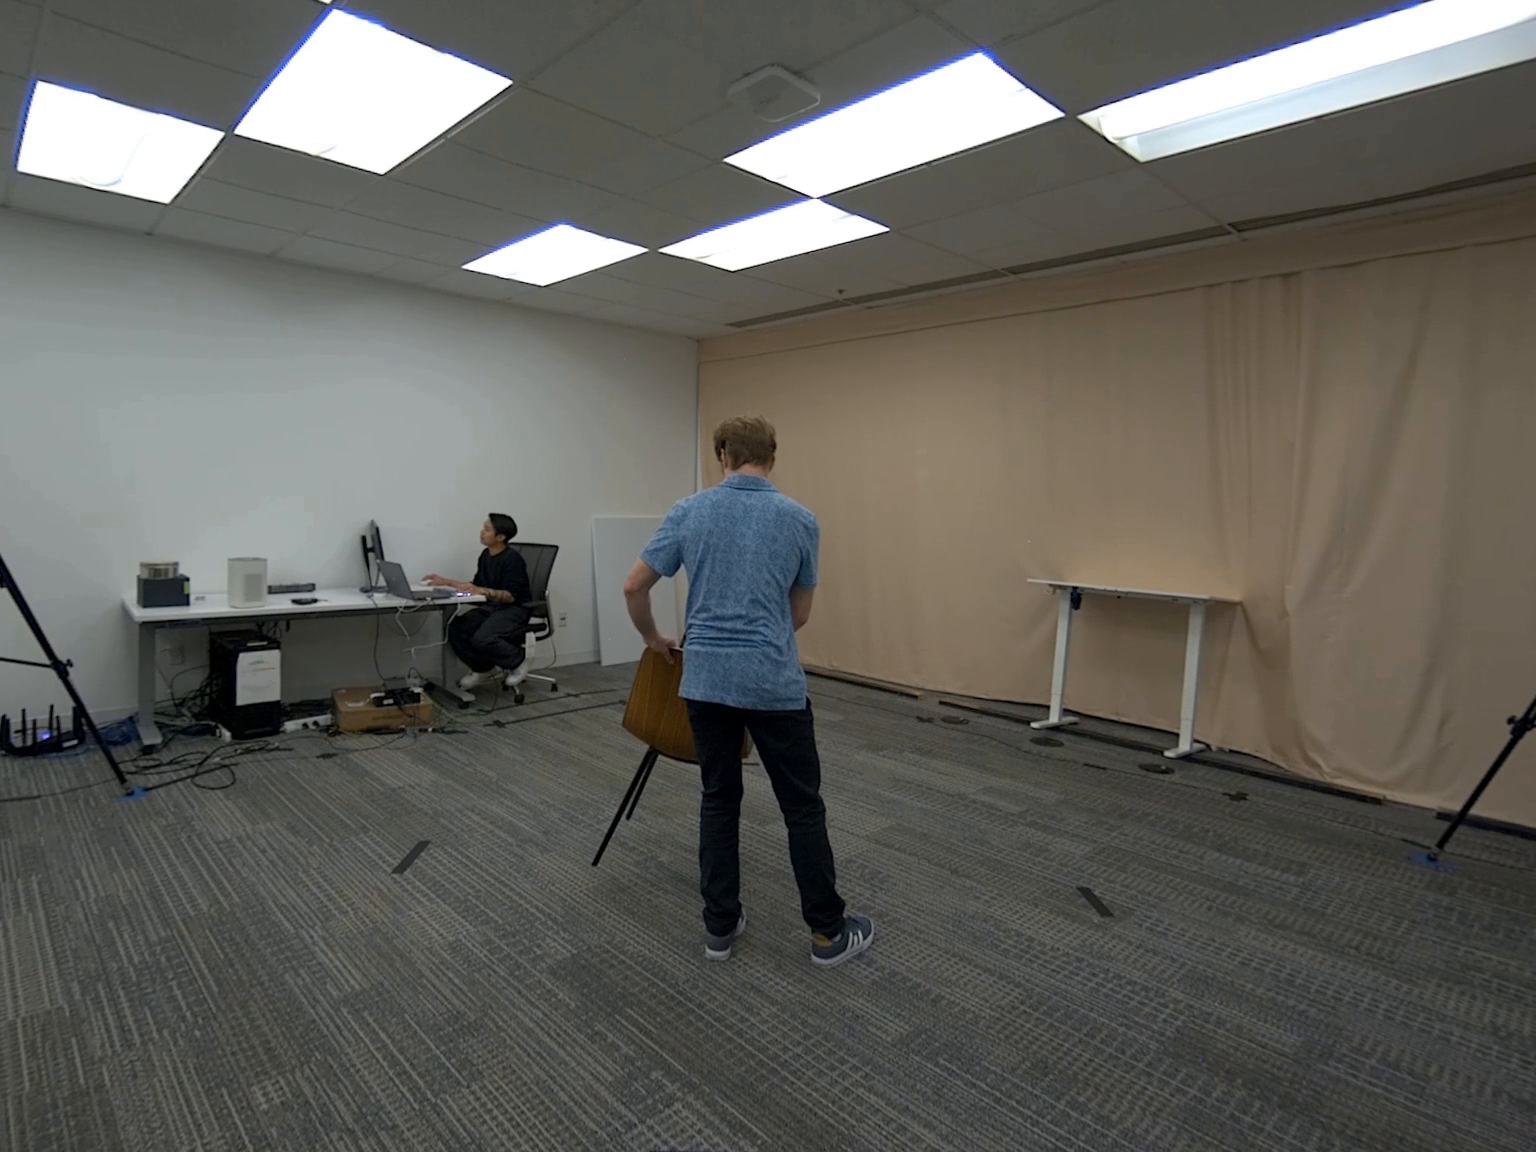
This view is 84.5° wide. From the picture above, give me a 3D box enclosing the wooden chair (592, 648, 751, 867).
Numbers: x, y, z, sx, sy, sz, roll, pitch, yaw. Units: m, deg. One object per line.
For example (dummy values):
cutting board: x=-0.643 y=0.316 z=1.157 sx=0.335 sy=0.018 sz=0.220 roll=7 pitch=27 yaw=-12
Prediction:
wooden chair: x=-0.312 y=0.642 z=3.148 sx=0.481 sy=0.873 sz=0.522 roll=13 pitch=9 yaw=6
